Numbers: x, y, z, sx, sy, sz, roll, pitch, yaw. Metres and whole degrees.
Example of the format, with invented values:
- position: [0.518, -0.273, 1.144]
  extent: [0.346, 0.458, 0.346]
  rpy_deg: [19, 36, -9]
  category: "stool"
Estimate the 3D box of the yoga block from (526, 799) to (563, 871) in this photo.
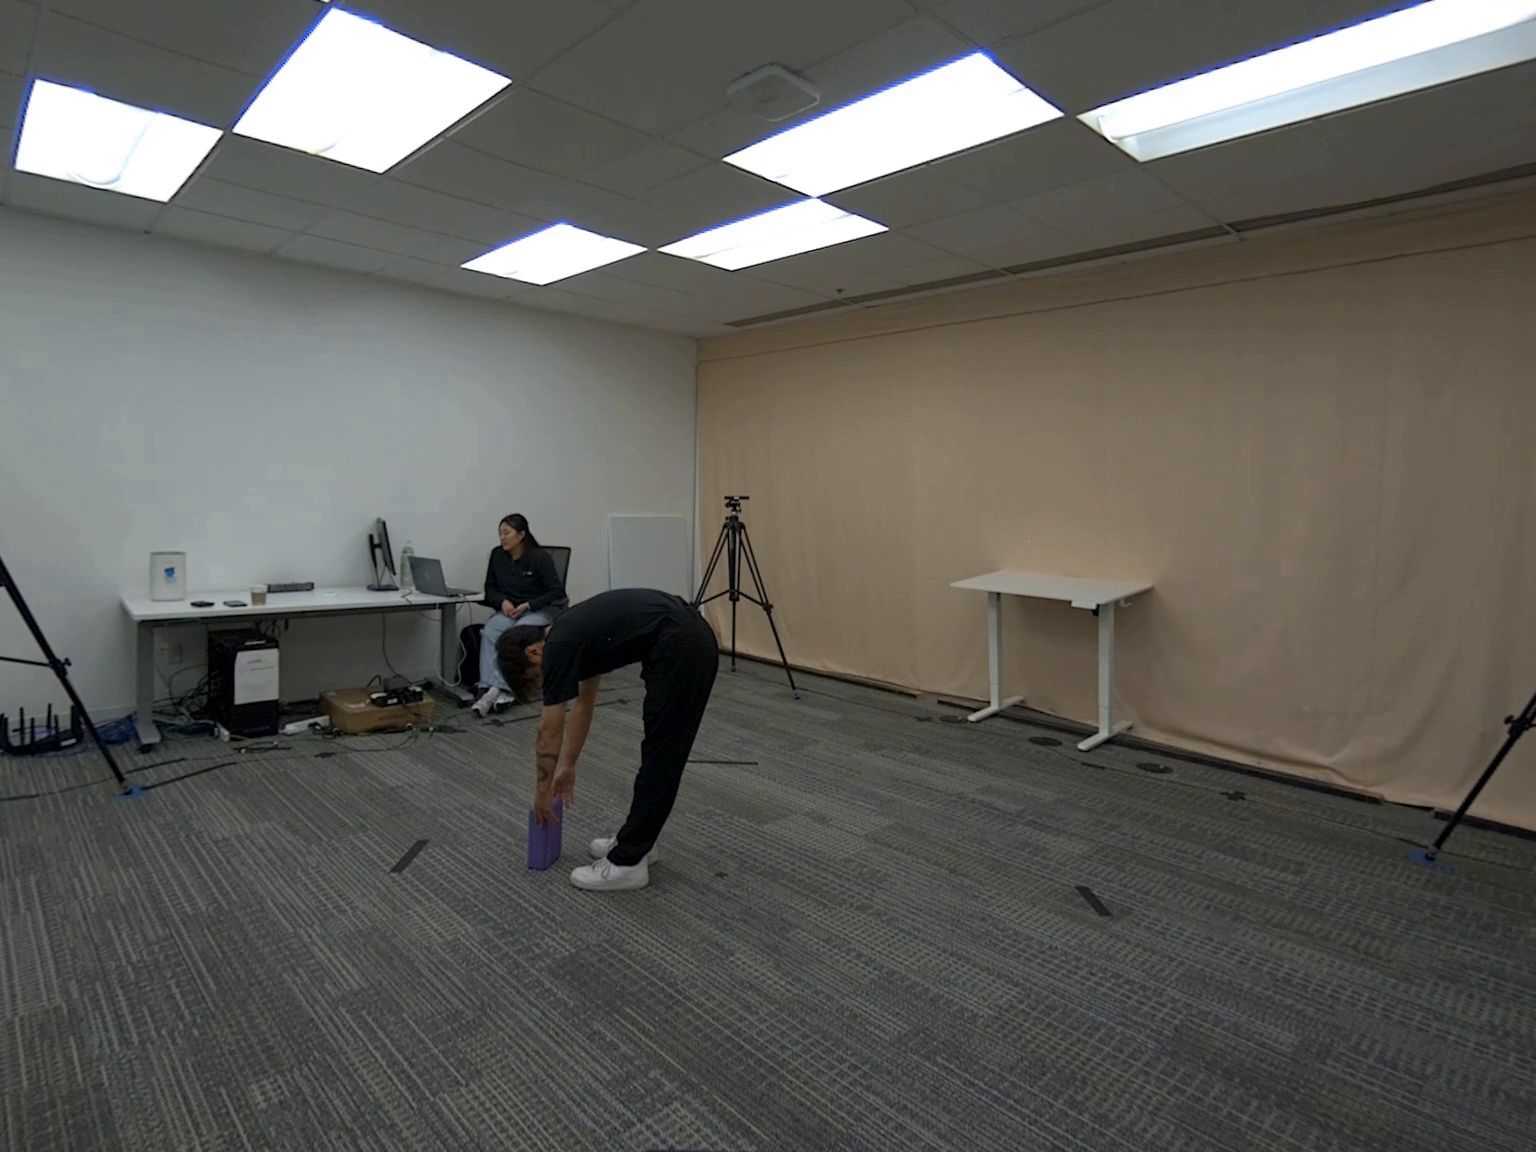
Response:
- position: [-0.843, 0.964, 3.172]
  extent: [0.077, 0.229, 0.148]
  rpy_deg: [0, 3, 10]
  category: "yoga block"
